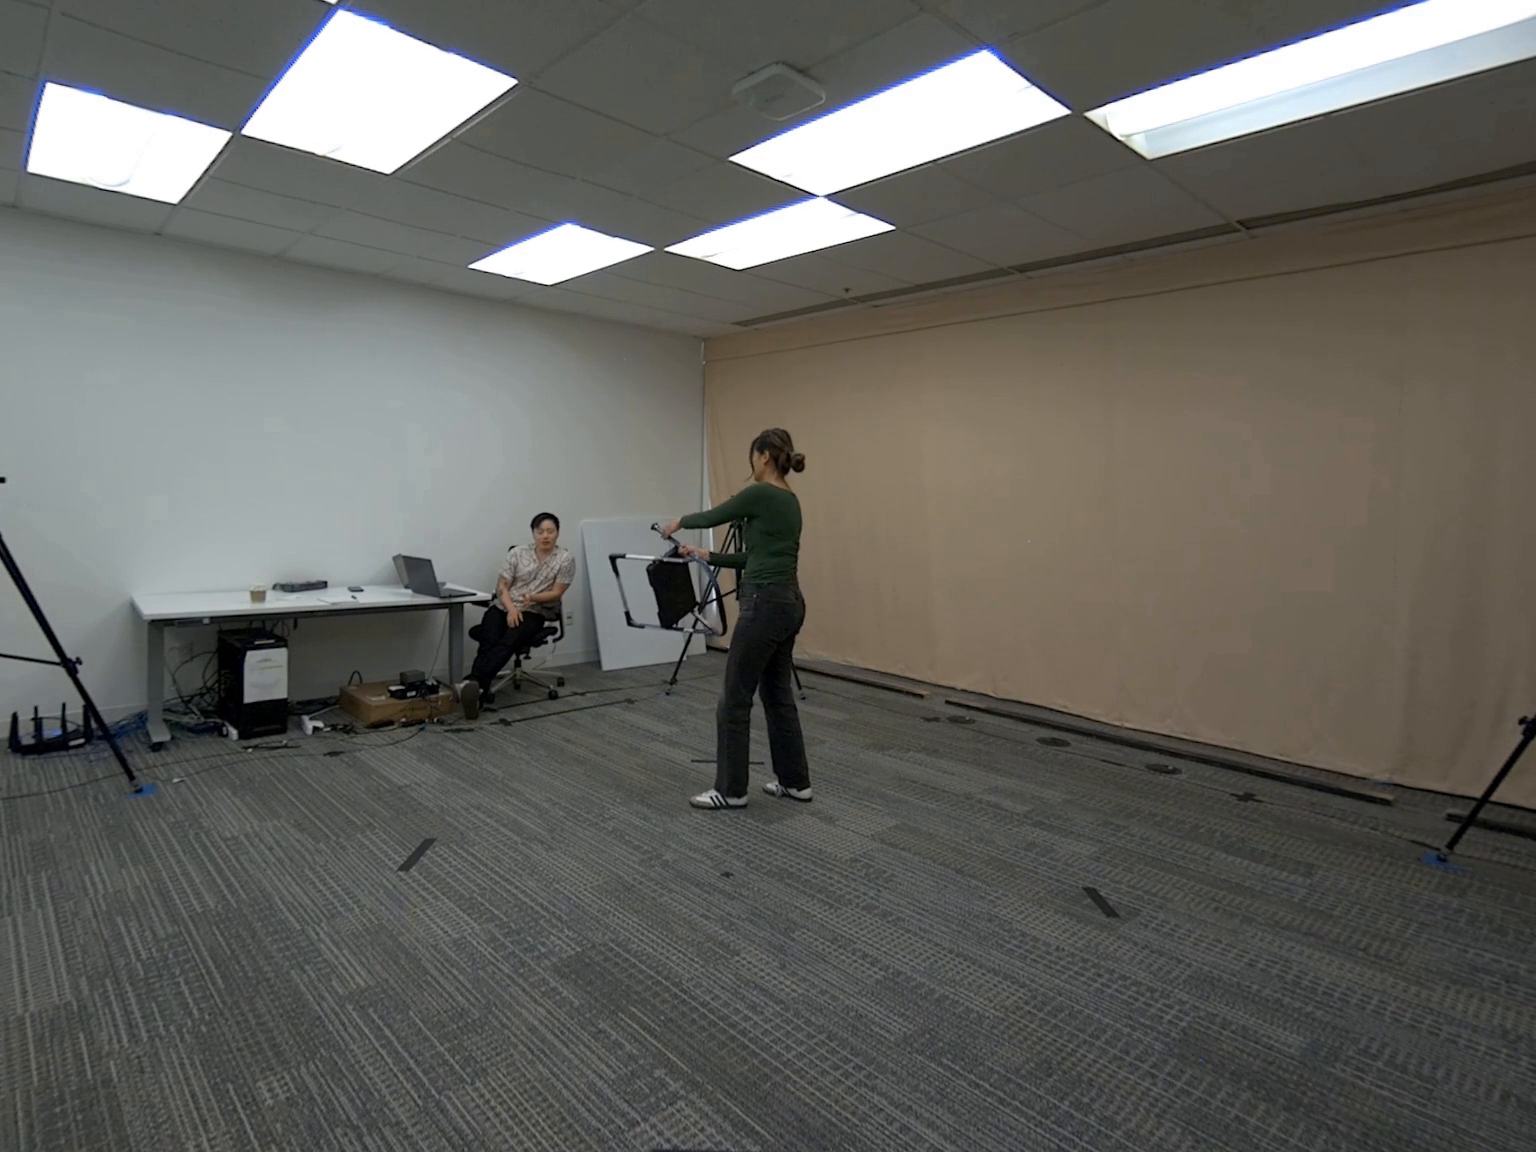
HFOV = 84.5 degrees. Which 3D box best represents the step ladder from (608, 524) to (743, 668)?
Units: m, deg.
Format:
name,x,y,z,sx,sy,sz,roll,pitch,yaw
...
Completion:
name,x,y,z,sx,sy,sz,roll,pitch,yaw
step ladder,-0.404,0.053,4.040,0.623,0.421,0.347,13,37,37
